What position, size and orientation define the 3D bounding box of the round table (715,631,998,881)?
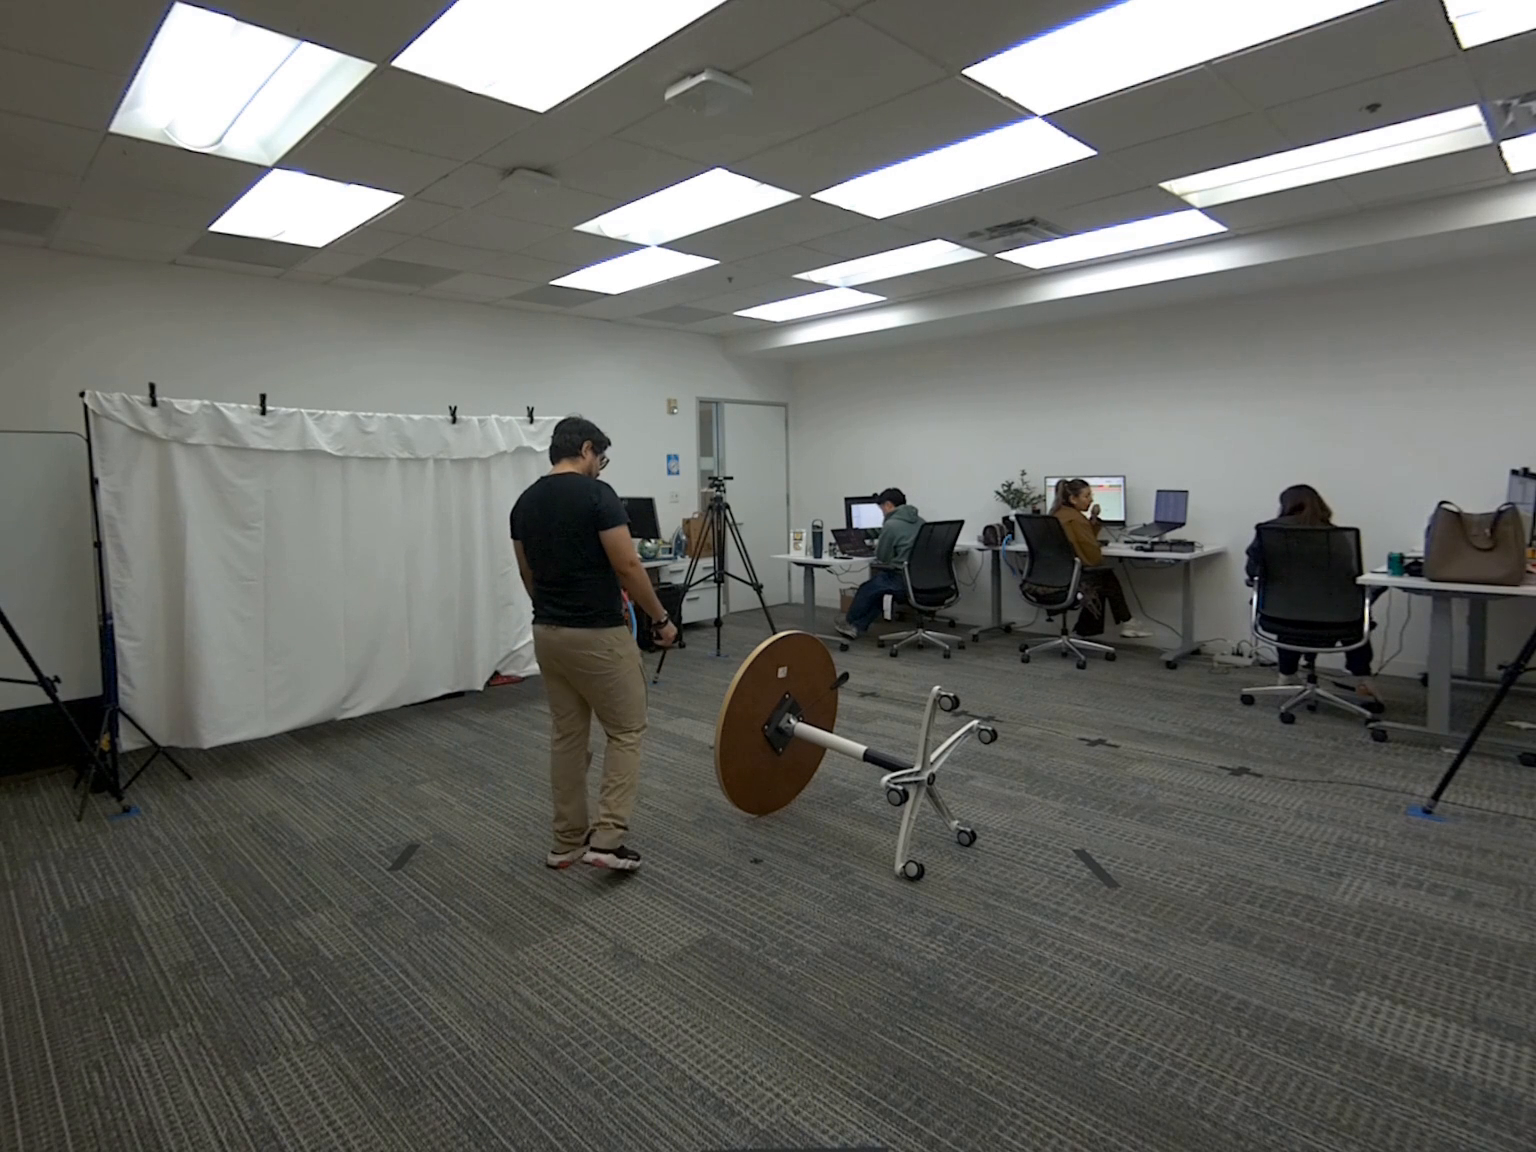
[{"bbox_3d":[0.345,0.678,3.269,0.813,0.779,0.765,13,13,41],"label":"round table"}]
